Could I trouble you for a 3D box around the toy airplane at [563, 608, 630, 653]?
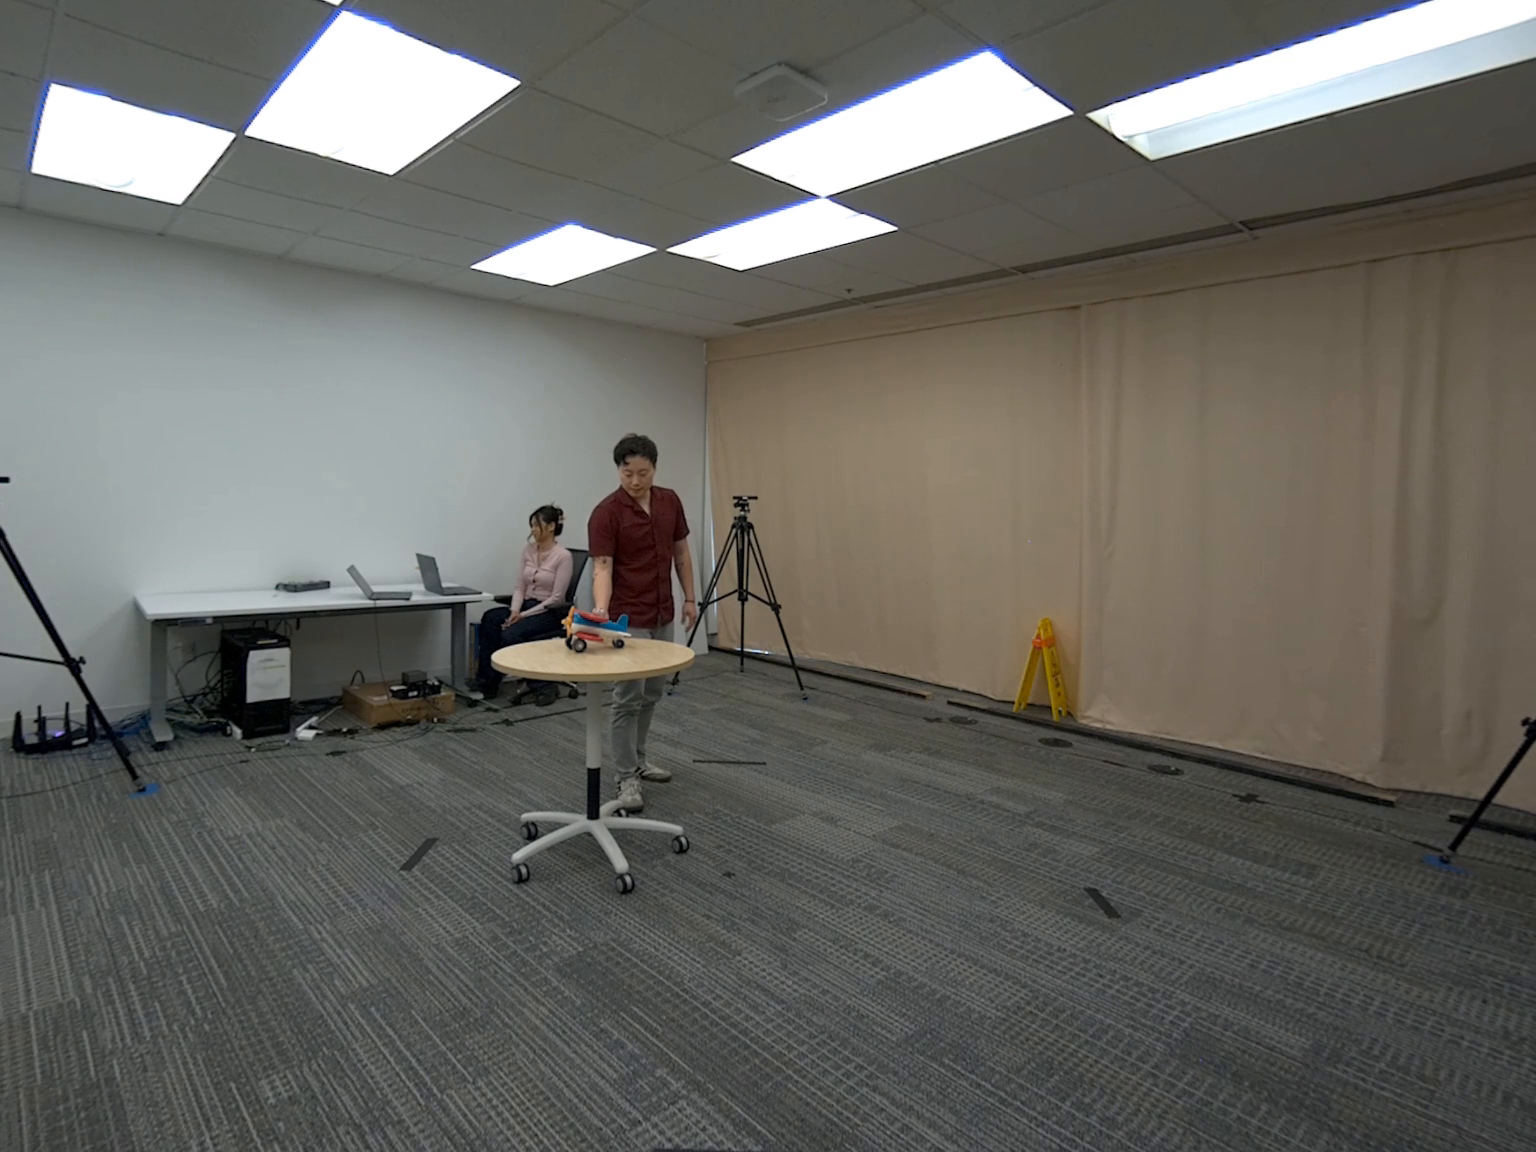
[{"bbox_3d":[-0.702,0.211,3.323,0.257,0.156,0.254,2,5,33],"label":"toy airplane"}]
